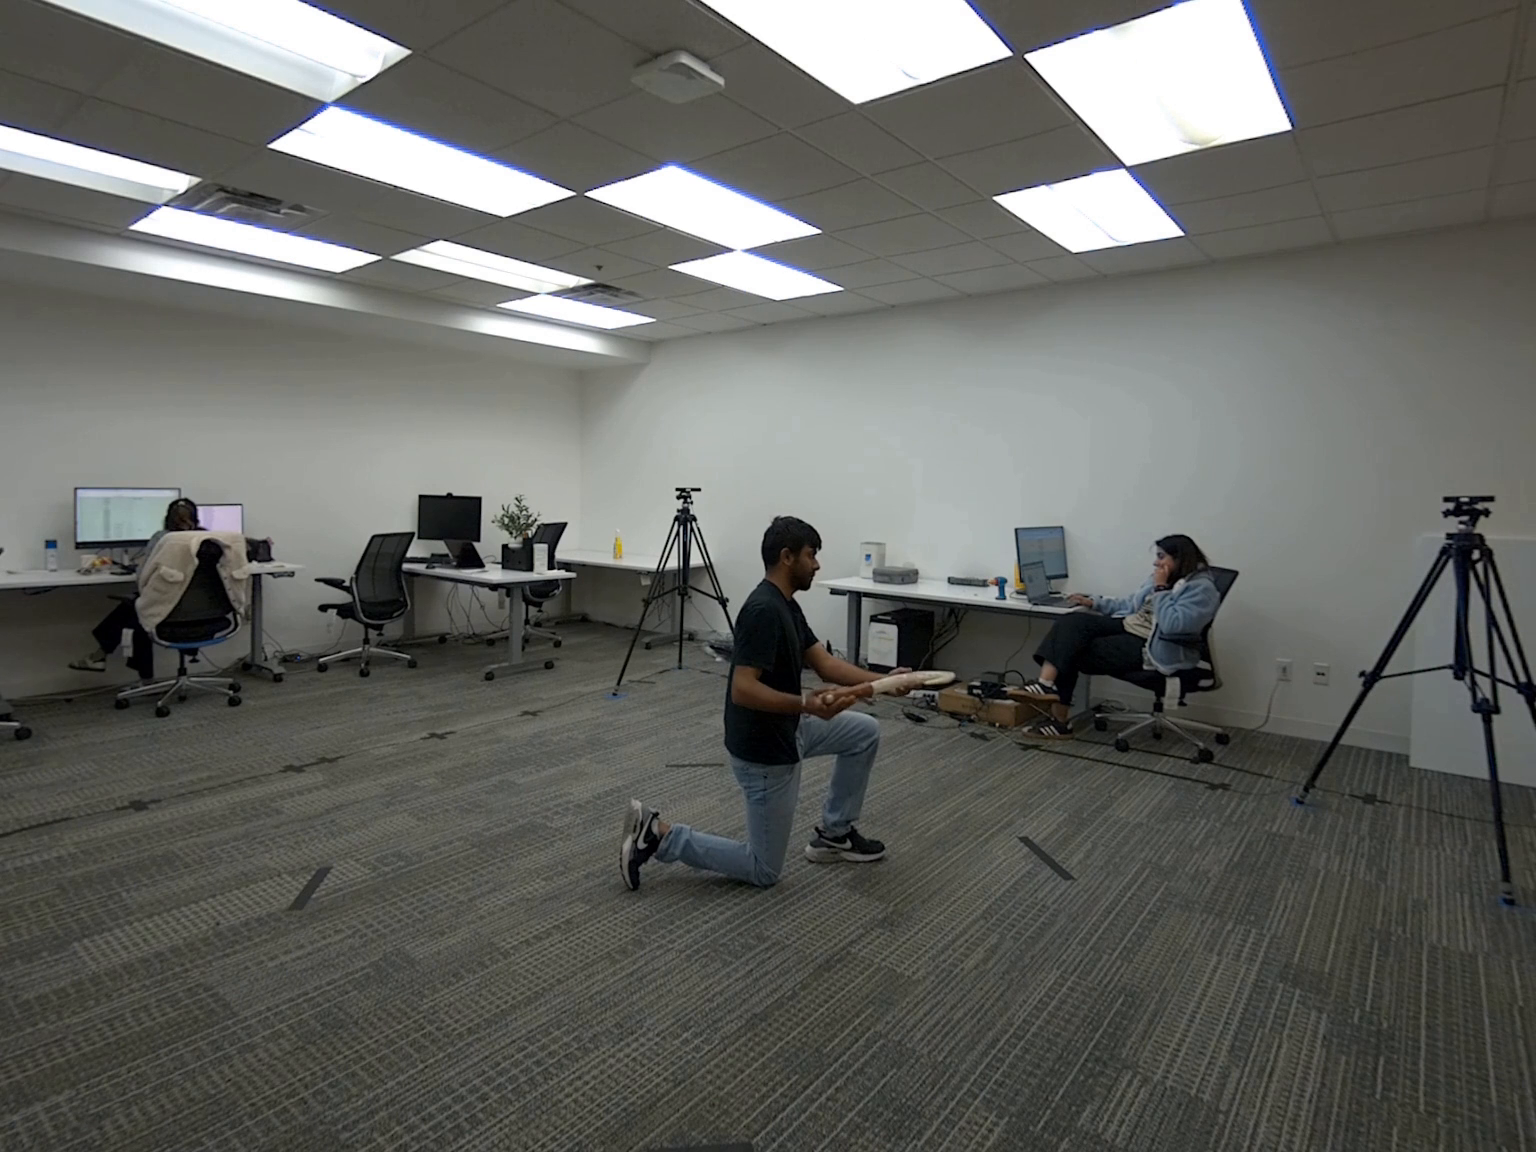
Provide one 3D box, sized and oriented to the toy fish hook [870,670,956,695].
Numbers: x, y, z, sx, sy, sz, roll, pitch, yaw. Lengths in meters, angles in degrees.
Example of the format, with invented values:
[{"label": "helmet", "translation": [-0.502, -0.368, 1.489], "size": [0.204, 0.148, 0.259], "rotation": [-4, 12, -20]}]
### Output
[{"label": "toy fish hook", "translation": [0.366, 0.331, 2.621], "size": [0.492, 0.049, 0.229], "rotation": [-5, -7, -40]}]
